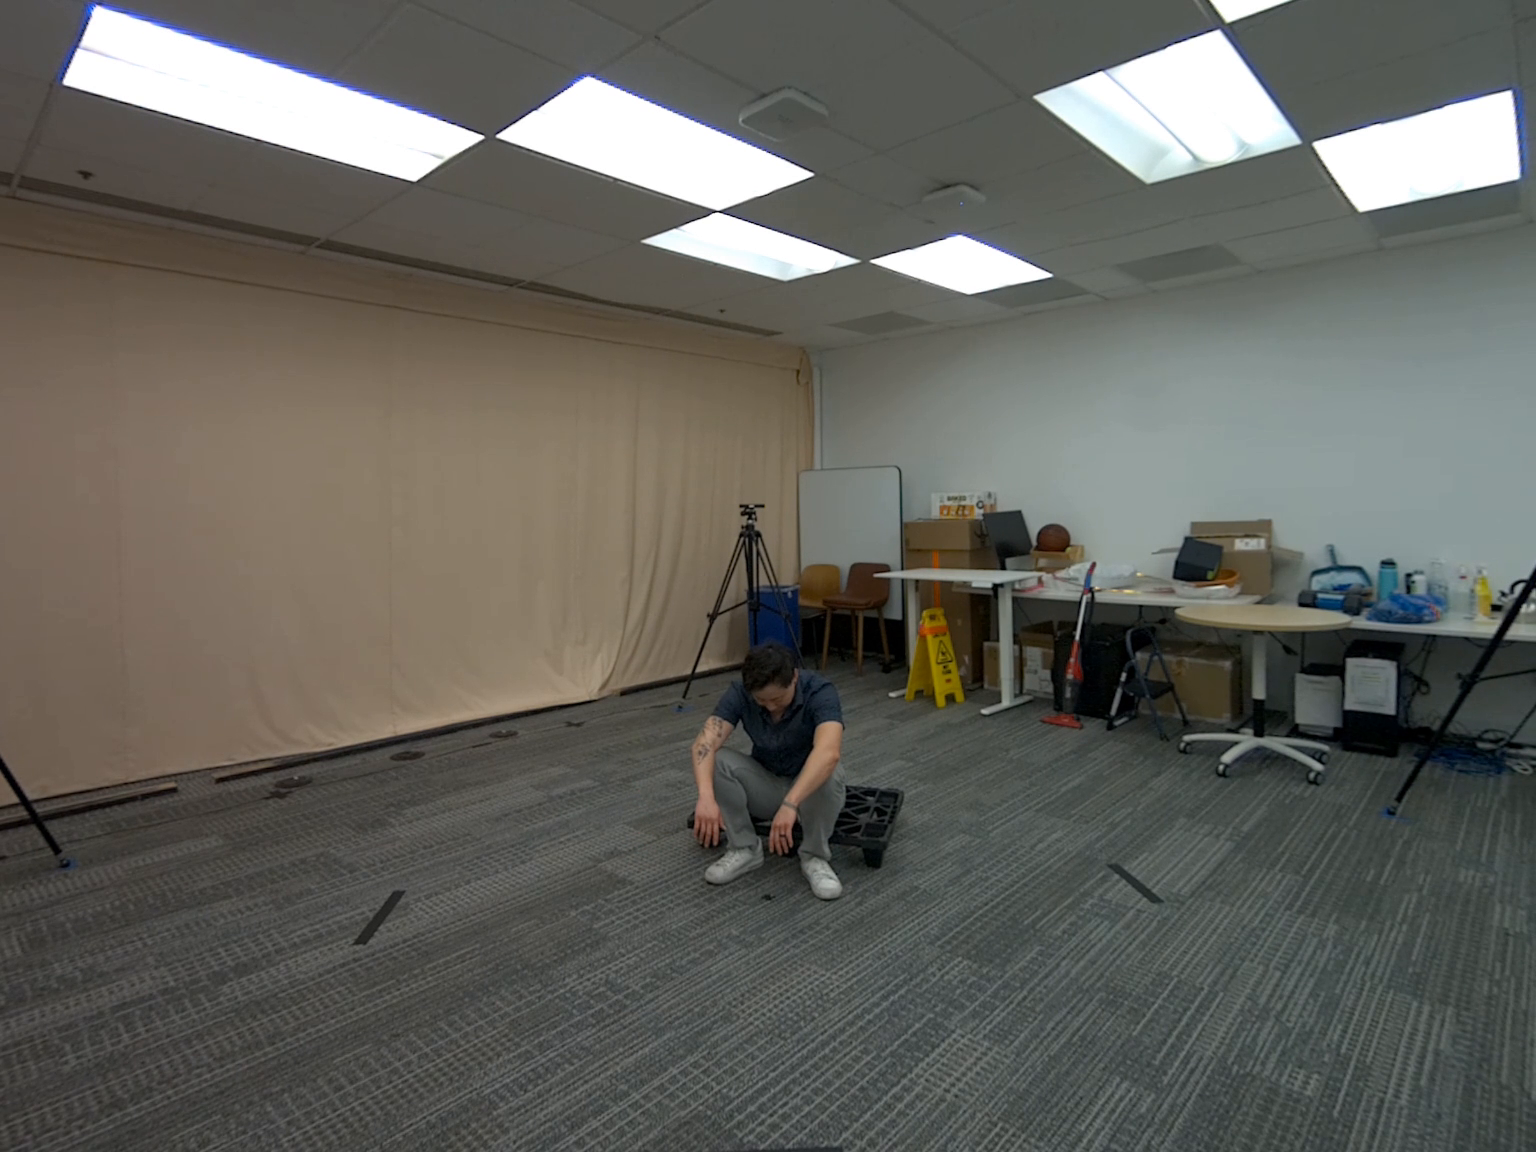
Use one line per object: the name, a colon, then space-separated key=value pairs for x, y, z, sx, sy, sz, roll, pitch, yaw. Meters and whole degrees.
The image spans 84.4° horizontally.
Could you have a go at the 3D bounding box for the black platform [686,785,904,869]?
black platform: x=0.142 y=1.022 z=3.531 sx=0.821 sy=0.143 sz=0.595 roll=1 pitch=5 yaw=17
